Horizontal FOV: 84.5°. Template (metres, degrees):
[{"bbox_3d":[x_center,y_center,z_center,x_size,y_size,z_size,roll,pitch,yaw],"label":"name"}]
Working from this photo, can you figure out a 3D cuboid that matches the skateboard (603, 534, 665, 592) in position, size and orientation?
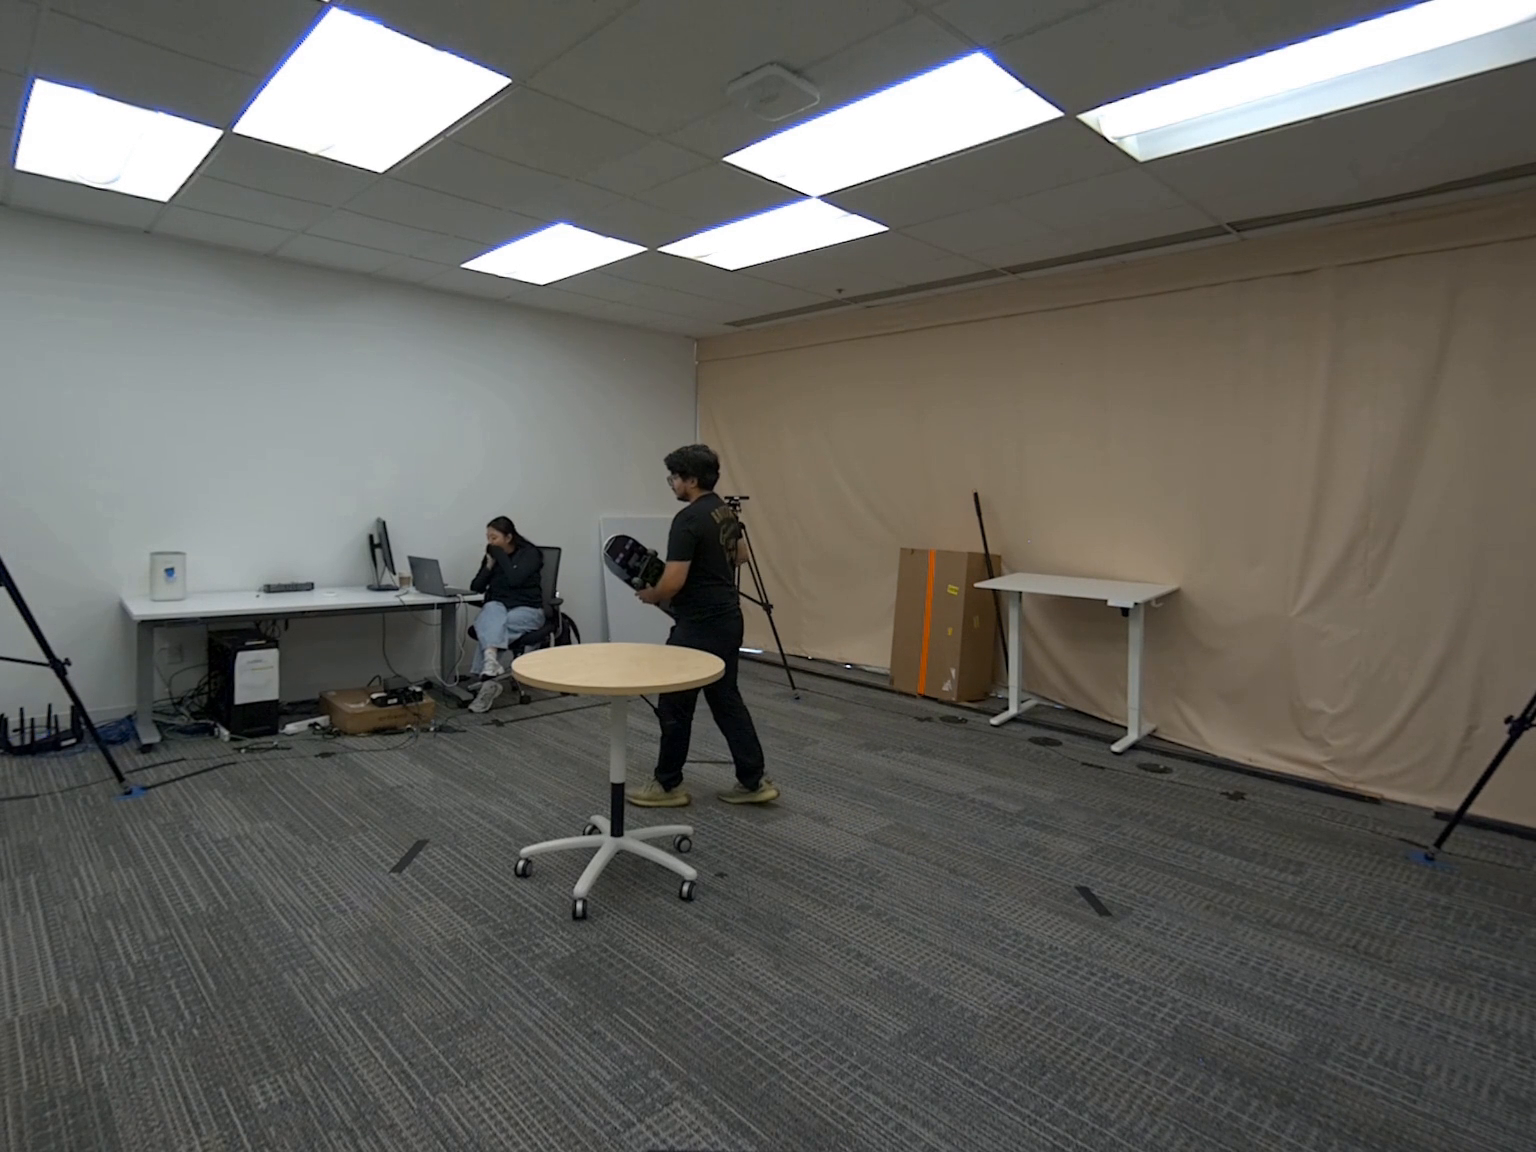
[{"bbox_3d":[-0.471,0.064,3.942,0.113,0.194,0.761,7,-27,47],"label":"skateboard"}]
